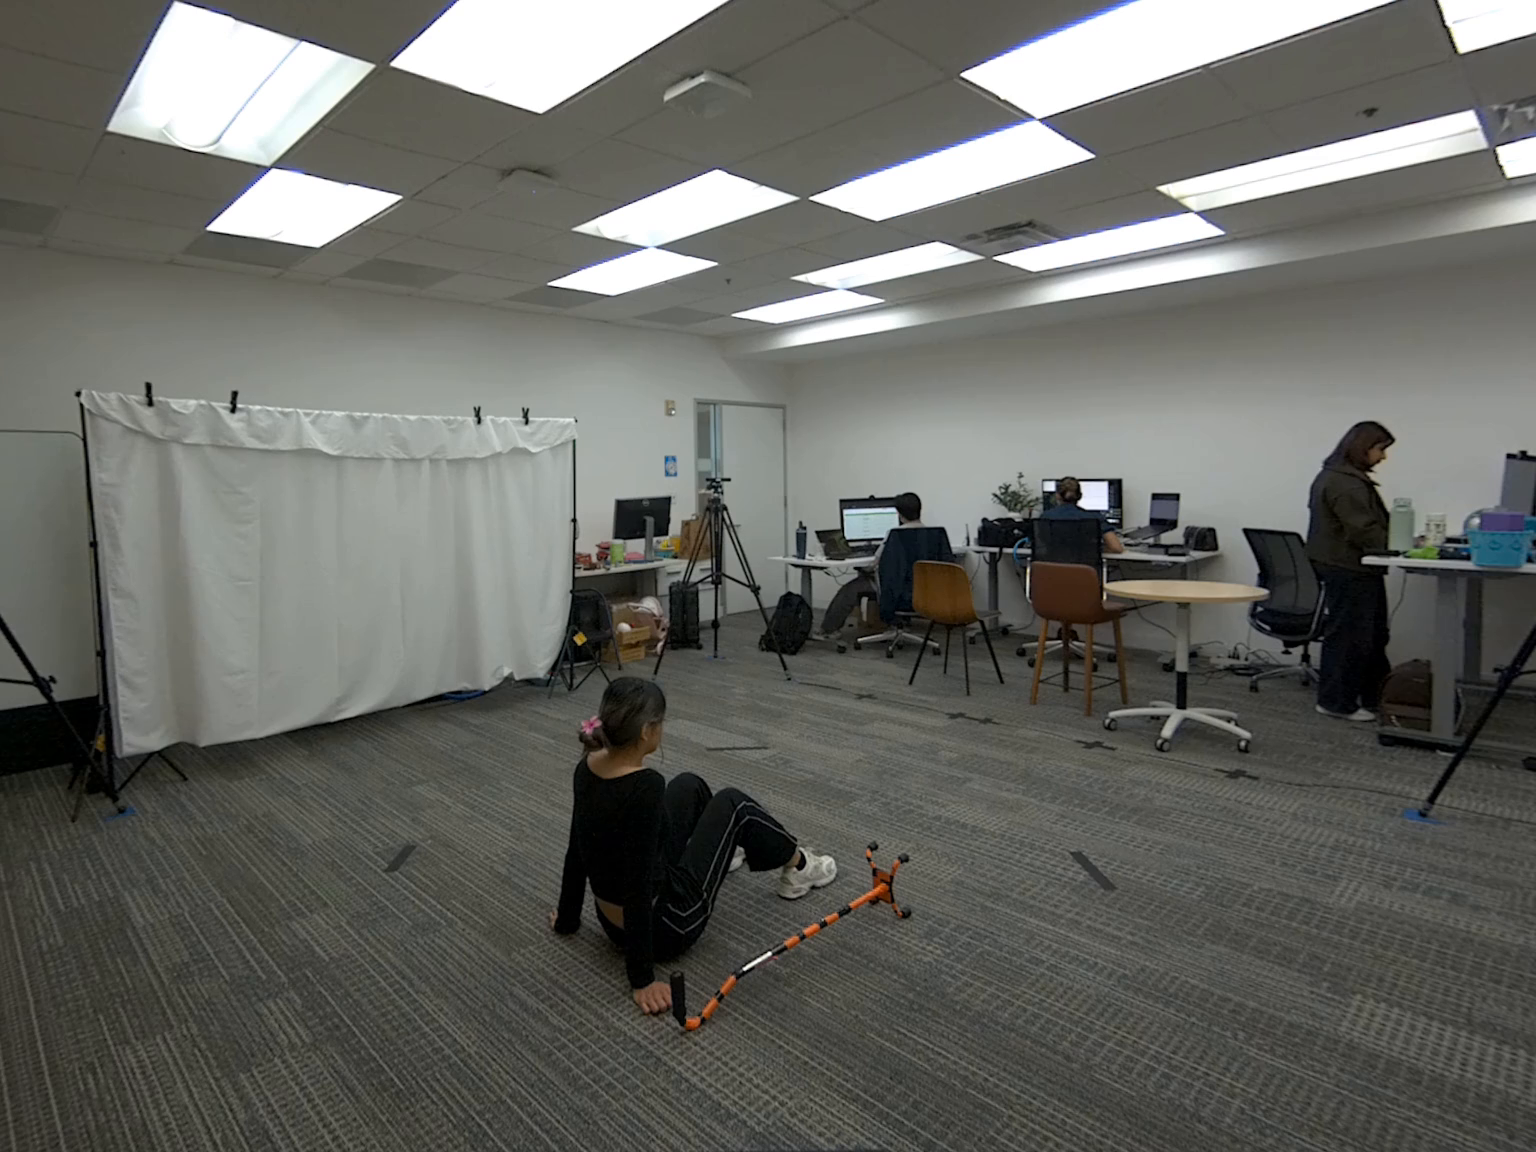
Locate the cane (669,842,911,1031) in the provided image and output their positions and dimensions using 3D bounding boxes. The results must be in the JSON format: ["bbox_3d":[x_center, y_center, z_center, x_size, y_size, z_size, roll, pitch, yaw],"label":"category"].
[{"bbox_3d":[0.086,1.024,2.447,0.886,0.205,0.156,-11,11,-42],"label":"cane"}]
